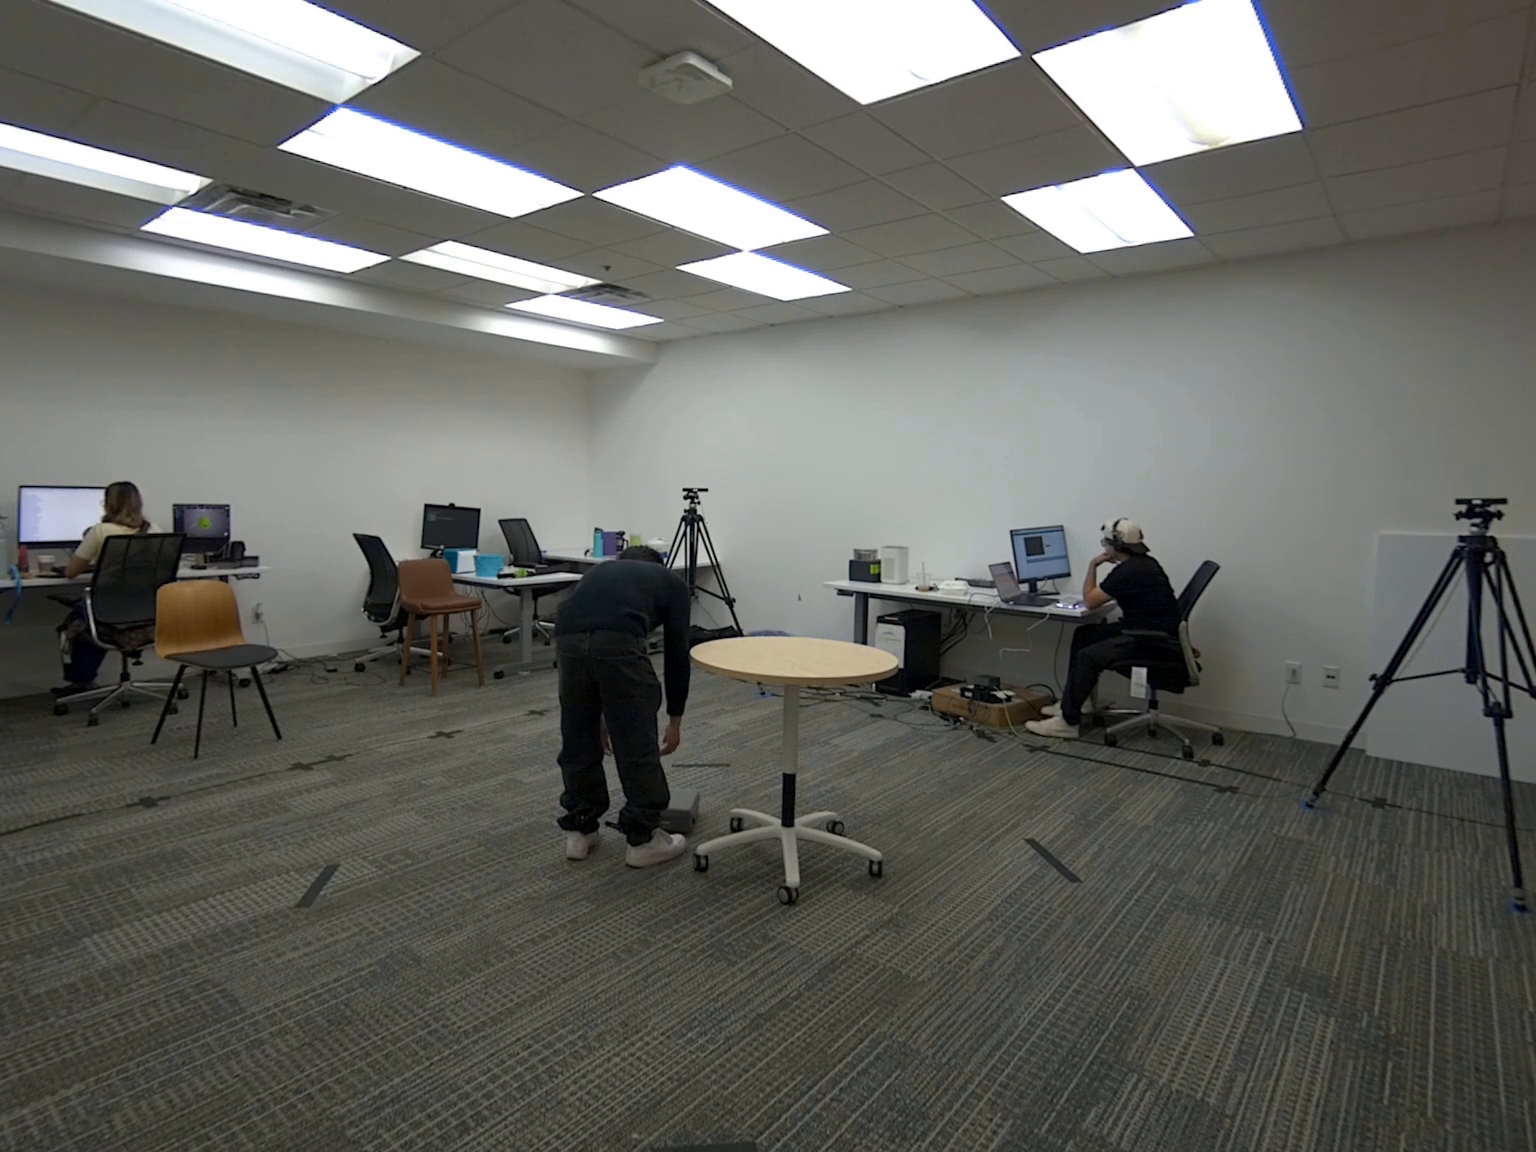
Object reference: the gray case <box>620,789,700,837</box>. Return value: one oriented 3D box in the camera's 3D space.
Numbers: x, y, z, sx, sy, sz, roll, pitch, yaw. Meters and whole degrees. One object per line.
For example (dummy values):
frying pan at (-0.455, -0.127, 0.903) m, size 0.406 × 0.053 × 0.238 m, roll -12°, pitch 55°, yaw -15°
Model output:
gray case at (-0.430, 0.962, 3.541) m, size 0.259 × 0.104 × 0.260 m, roll 1°, pitch 5°, yaw 6°
